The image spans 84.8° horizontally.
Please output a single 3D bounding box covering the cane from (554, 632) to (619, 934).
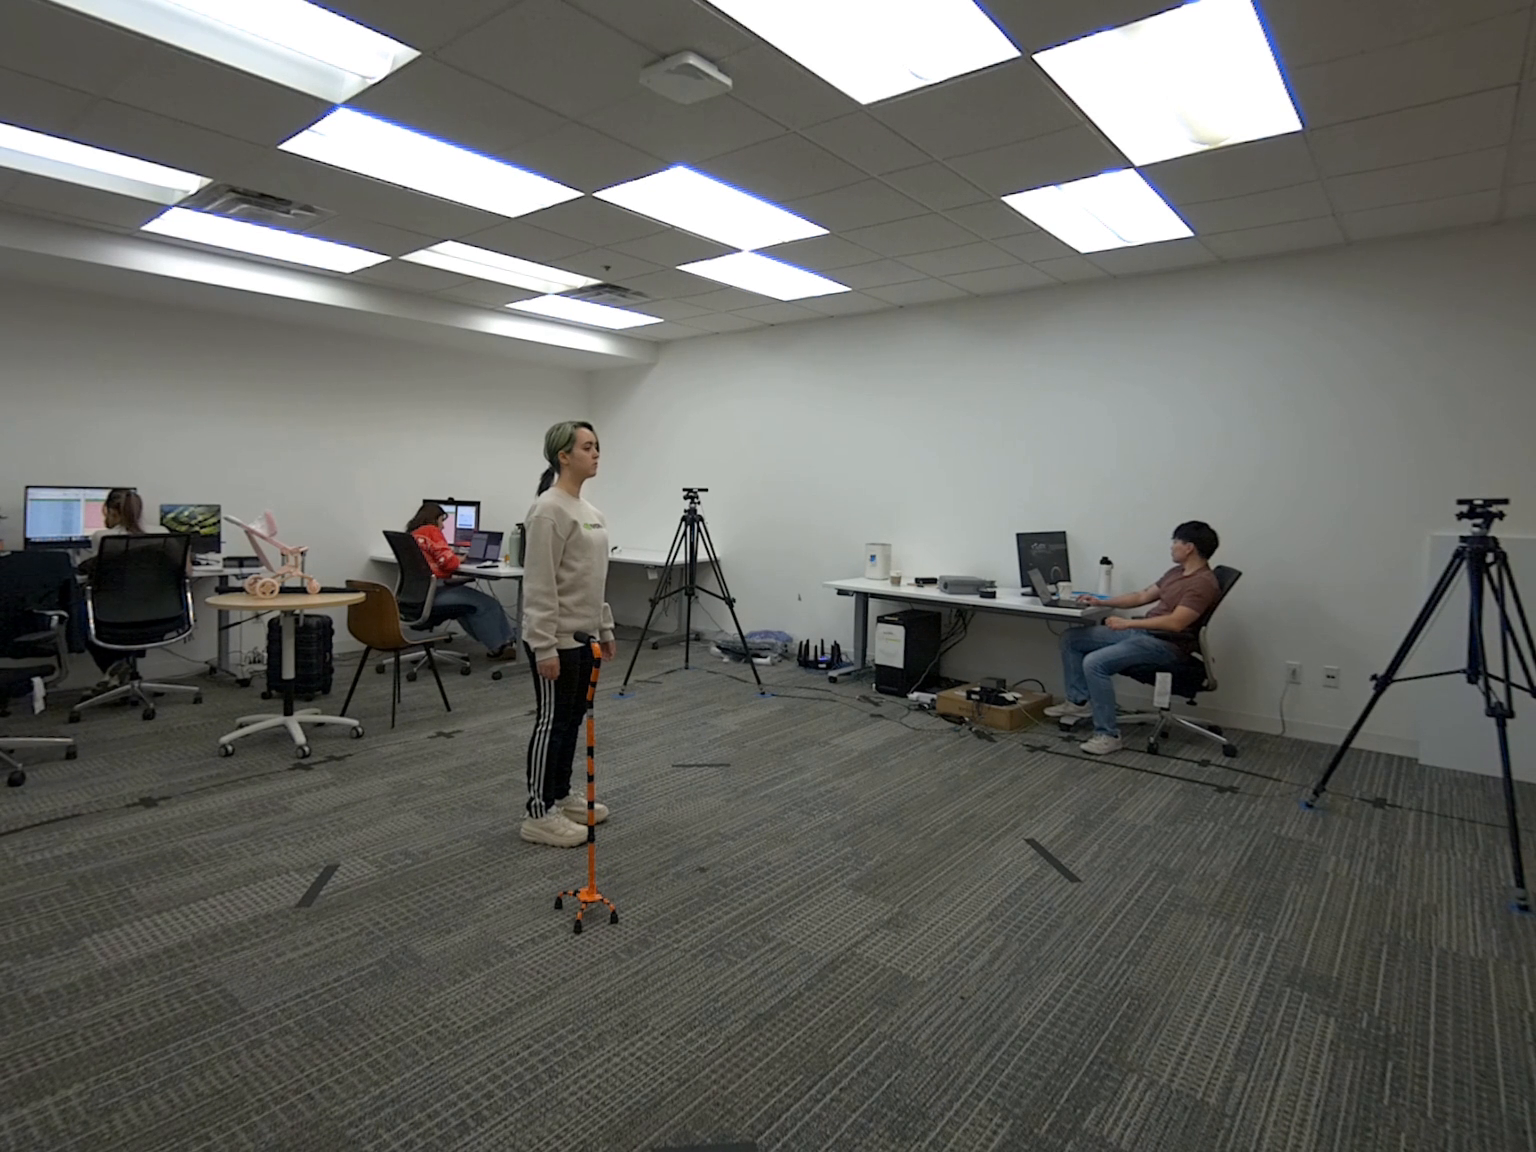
[{"bbox_3d":[-0.600,0.647,2.740,0.147,0.906,0.213,-1,3,-34],"label":"cane"}]
